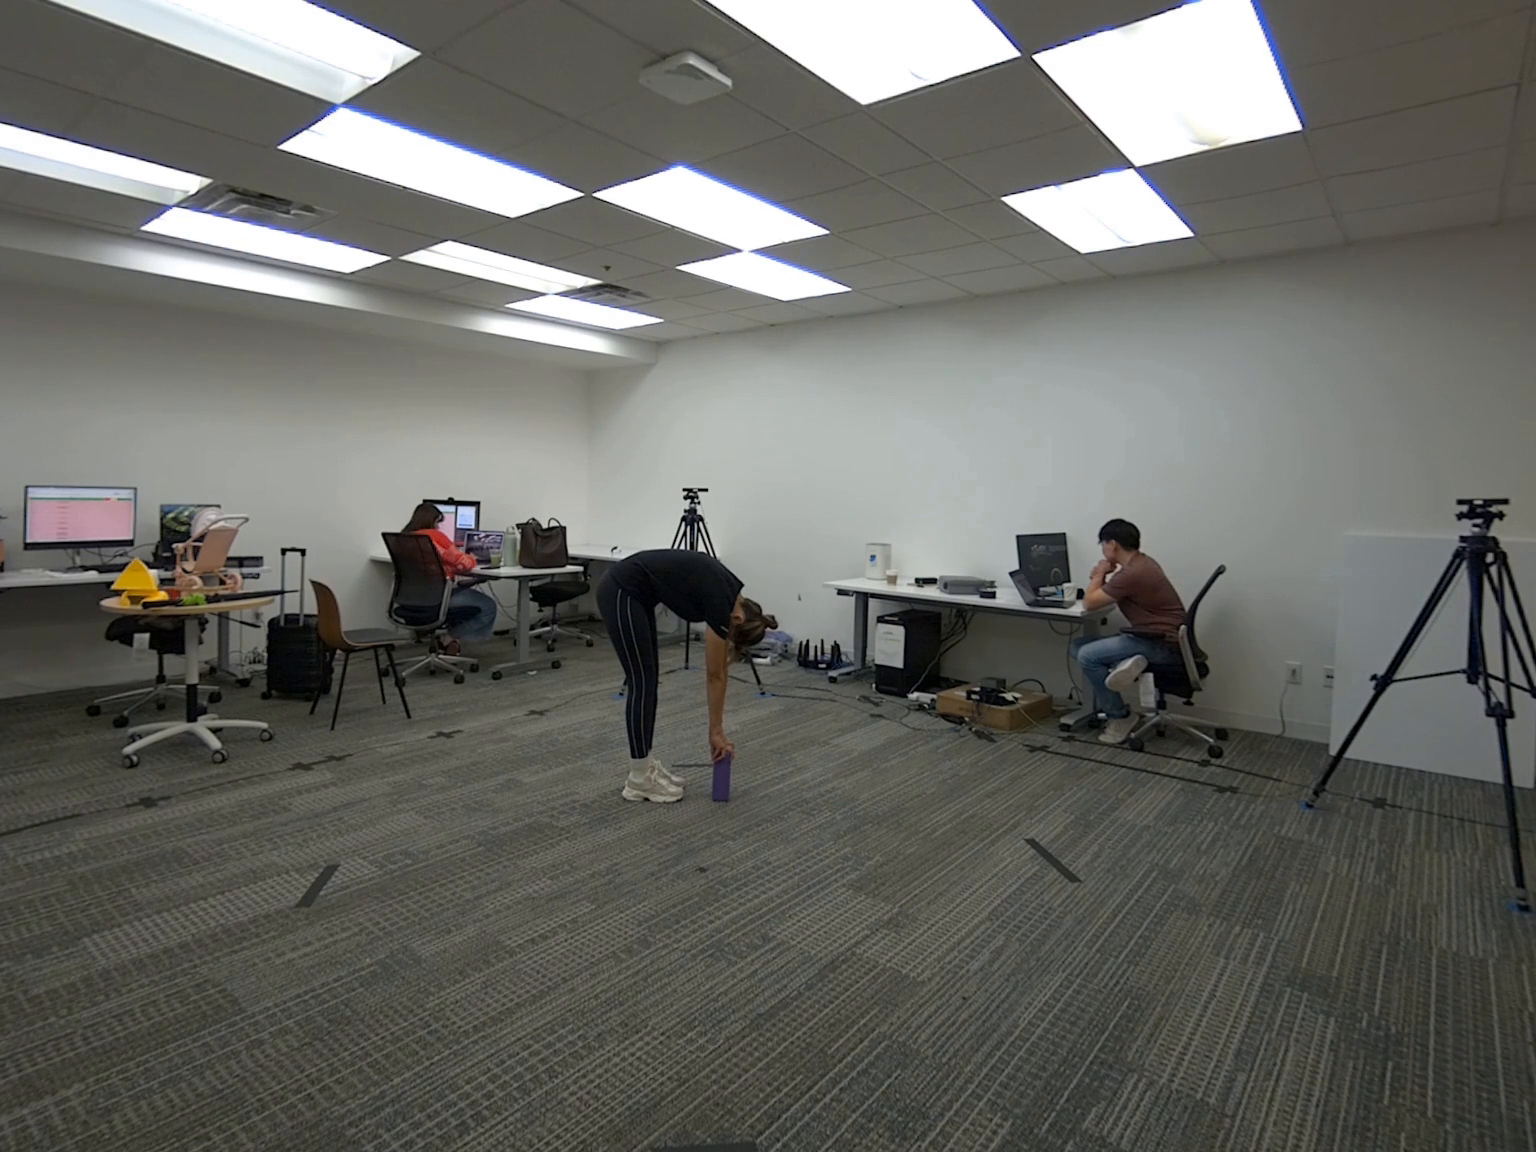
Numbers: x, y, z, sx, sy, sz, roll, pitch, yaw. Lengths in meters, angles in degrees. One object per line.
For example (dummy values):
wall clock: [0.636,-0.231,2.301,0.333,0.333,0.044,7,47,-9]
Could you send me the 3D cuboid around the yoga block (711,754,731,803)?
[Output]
yoga block: [-0.218,0.889,3.857,0.076,0.228,0.150,1,5,-4]
